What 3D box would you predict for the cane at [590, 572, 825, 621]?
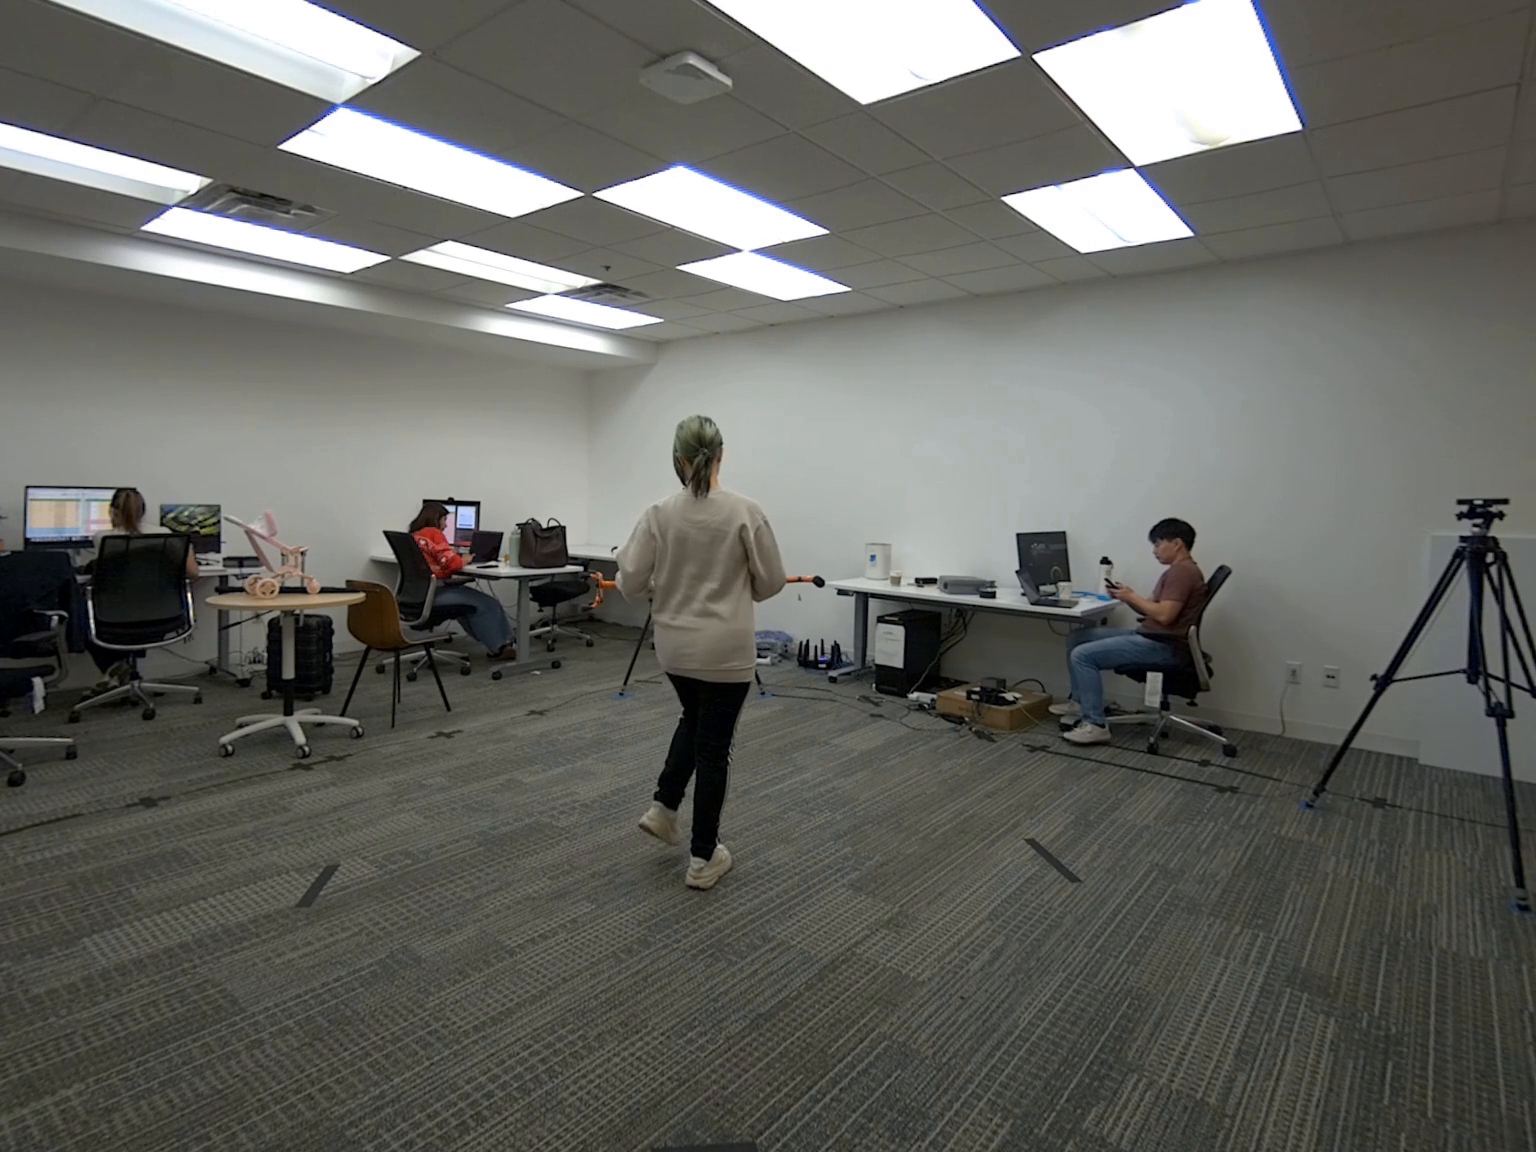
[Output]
[{"bbox_3d":[-0.251,0.041,3.276,0.909,0.151,0.206,-2,3,1],"label":"cane"}]
